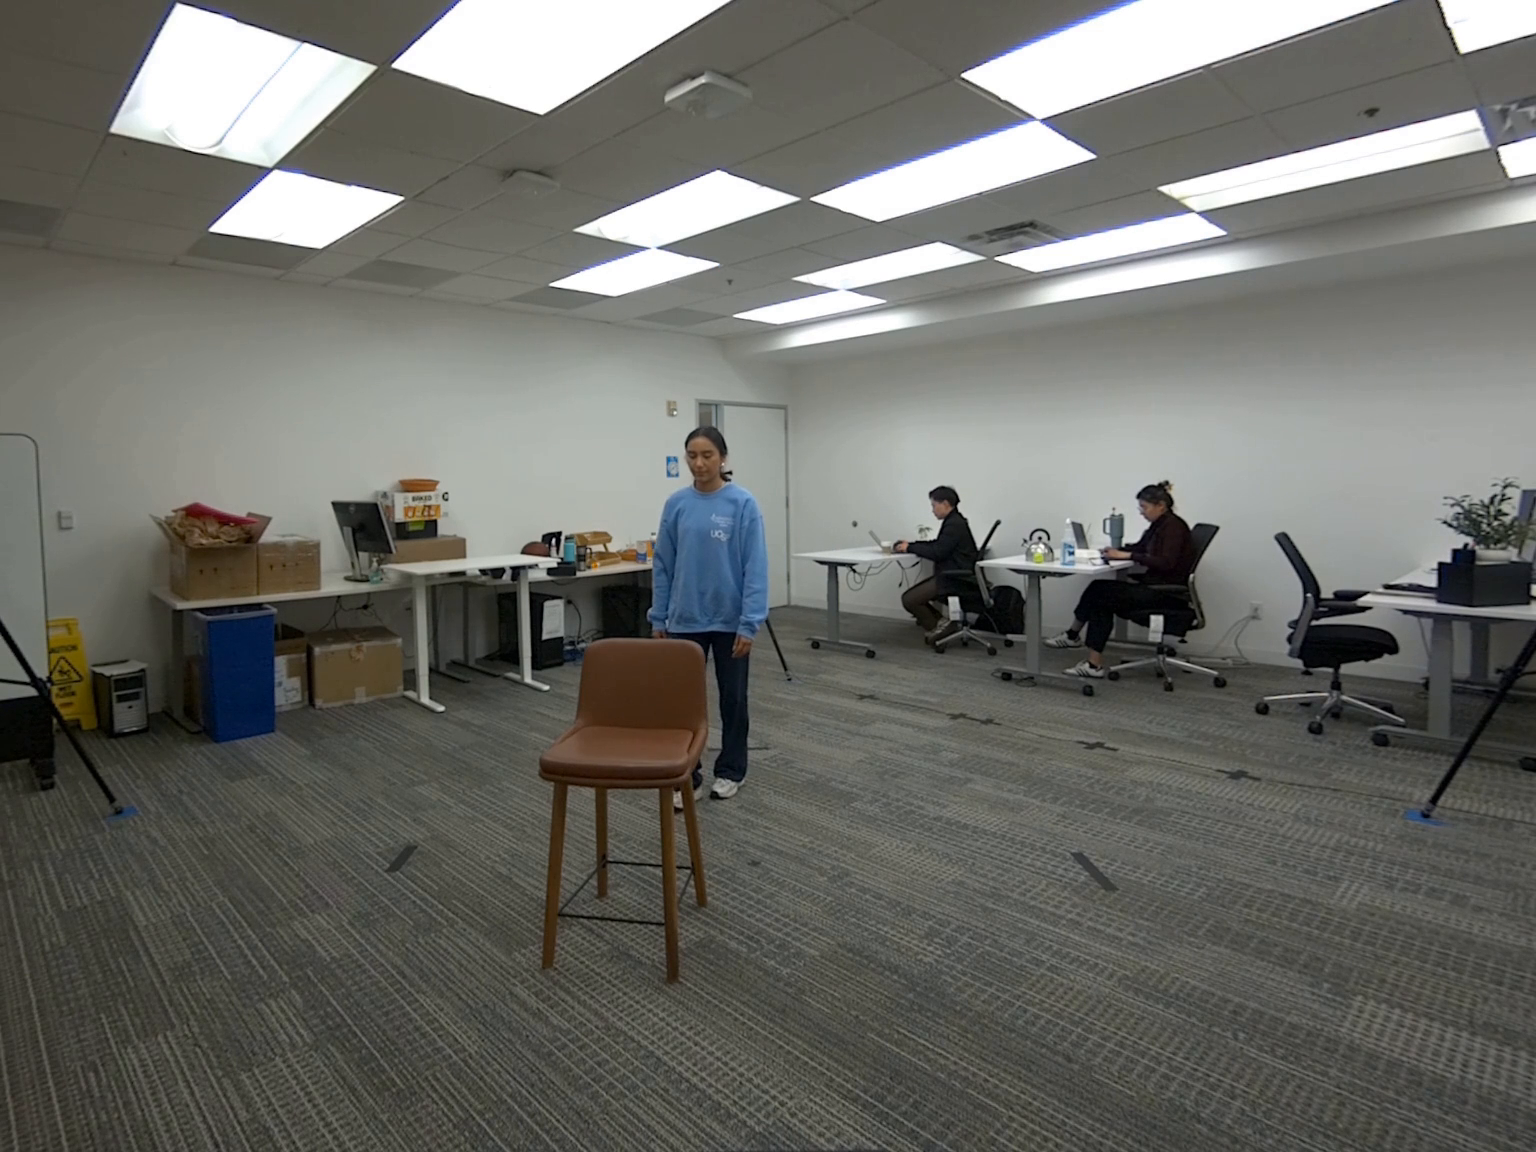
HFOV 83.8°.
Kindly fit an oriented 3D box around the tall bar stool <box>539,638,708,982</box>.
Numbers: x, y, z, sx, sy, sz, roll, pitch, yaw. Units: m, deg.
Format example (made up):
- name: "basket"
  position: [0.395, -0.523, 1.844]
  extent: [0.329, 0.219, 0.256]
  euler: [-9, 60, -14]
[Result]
- name: "tall bar stool"
  position: [-0.428, 0.675, 2.617]
  extent: [0.462, 0.888, 0.463]
  euler: [0, 3, 12]
